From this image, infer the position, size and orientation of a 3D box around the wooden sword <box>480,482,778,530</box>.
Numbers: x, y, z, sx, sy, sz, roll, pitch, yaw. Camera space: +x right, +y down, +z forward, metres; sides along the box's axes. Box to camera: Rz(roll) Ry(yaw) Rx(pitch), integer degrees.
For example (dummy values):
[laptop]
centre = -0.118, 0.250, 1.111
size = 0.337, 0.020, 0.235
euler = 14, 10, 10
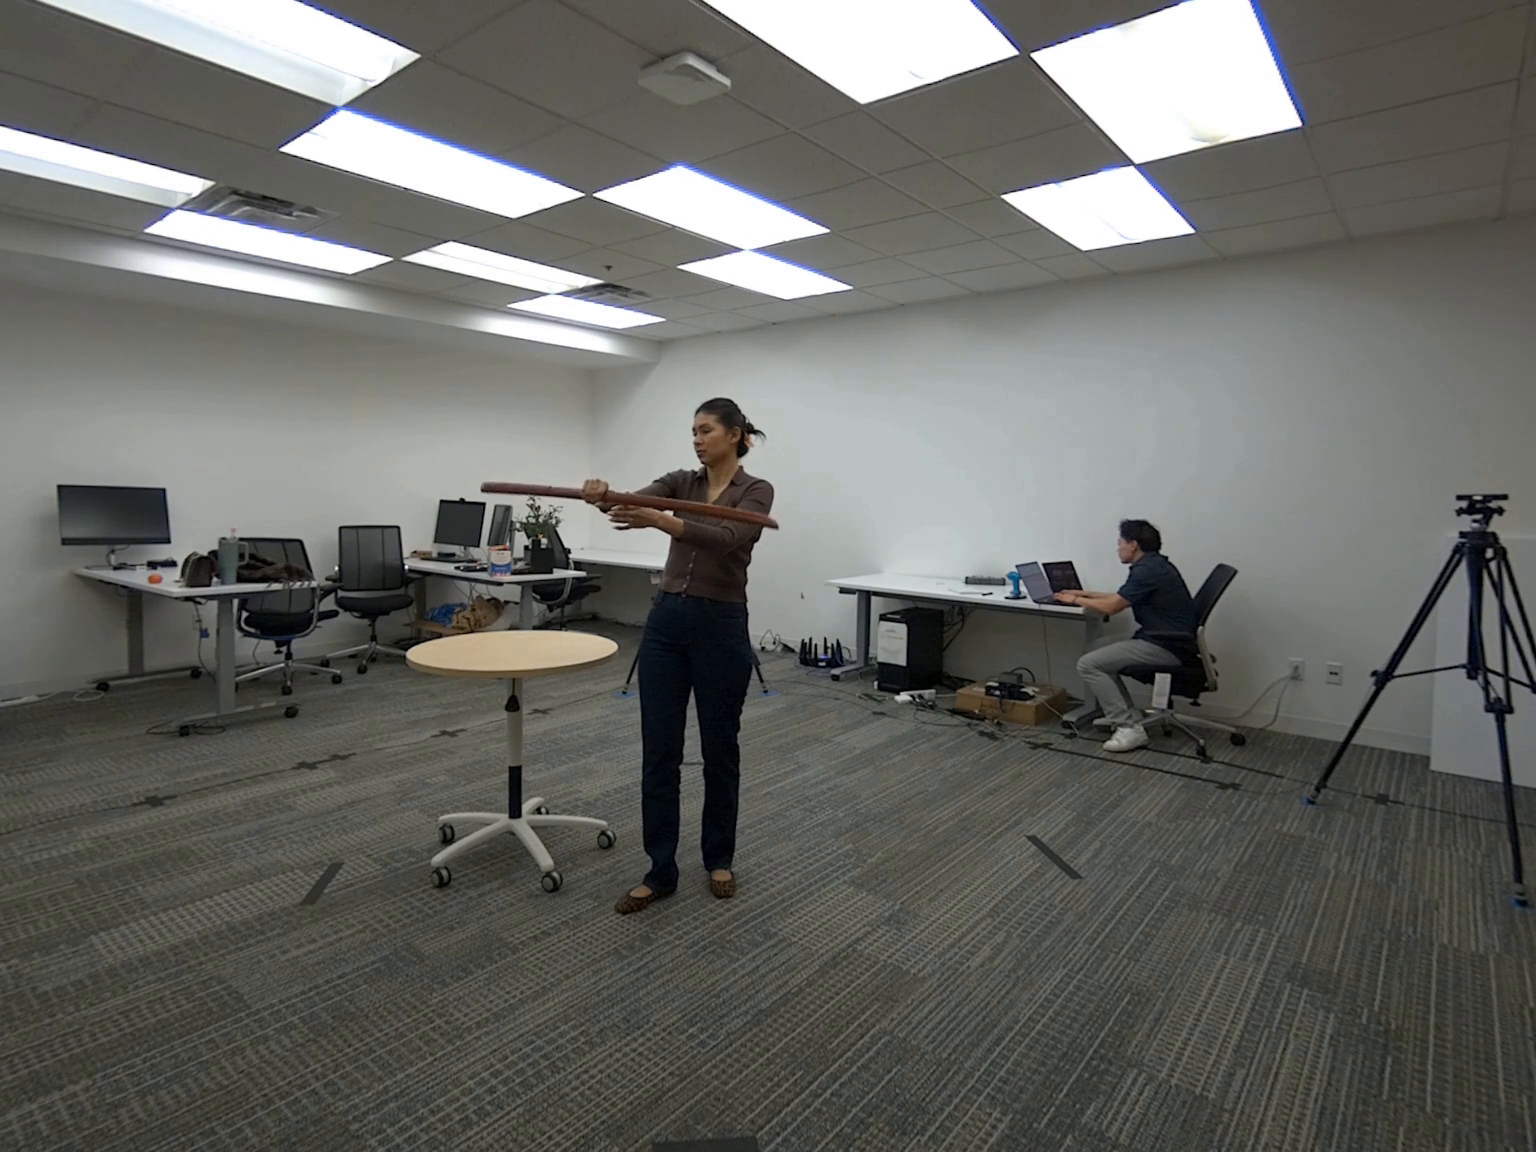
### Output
[wooden sword]
centre = -0.426, -0.217, 2.447
size = 1.056, 0.051, 0.023
euler = 10, -5, 28
